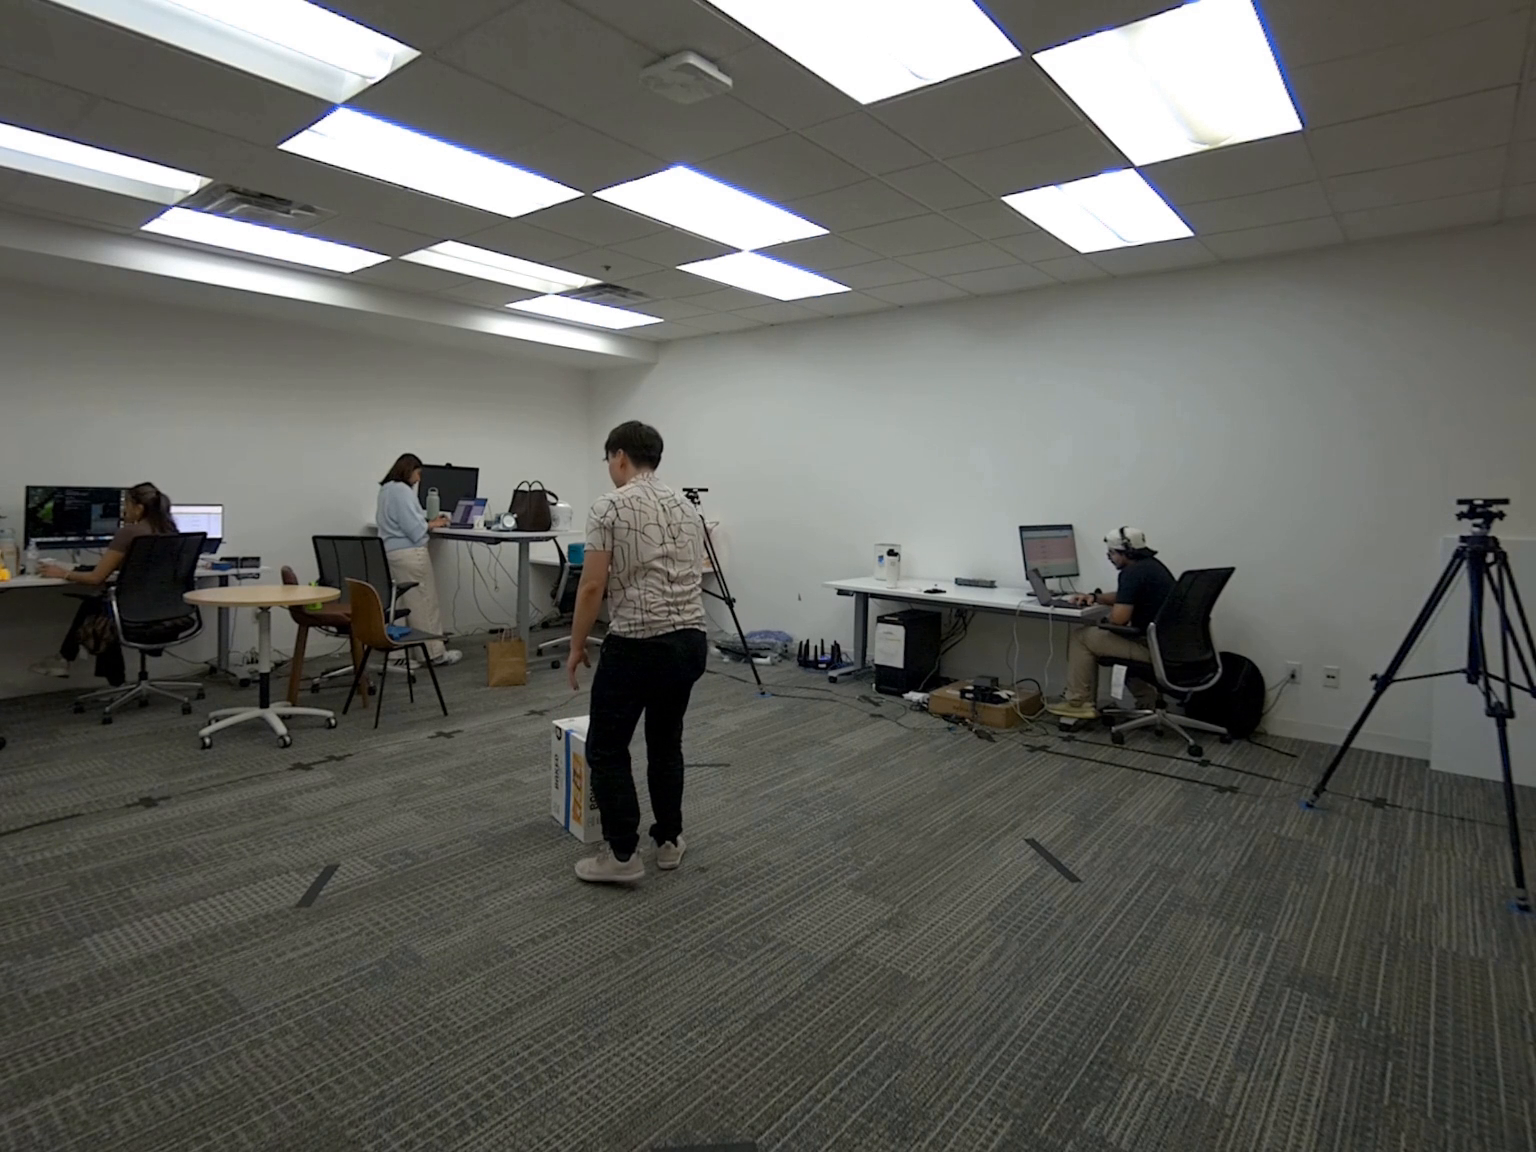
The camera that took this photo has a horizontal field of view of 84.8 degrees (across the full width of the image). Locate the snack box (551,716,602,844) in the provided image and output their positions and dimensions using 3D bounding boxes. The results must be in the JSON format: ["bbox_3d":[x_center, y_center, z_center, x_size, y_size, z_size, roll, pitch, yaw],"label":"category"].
[{"bbox_3d":[-0.748,0.821,3.498,0.200,0.404,0.351,-1,4,-35],"label":"snack box"}]
